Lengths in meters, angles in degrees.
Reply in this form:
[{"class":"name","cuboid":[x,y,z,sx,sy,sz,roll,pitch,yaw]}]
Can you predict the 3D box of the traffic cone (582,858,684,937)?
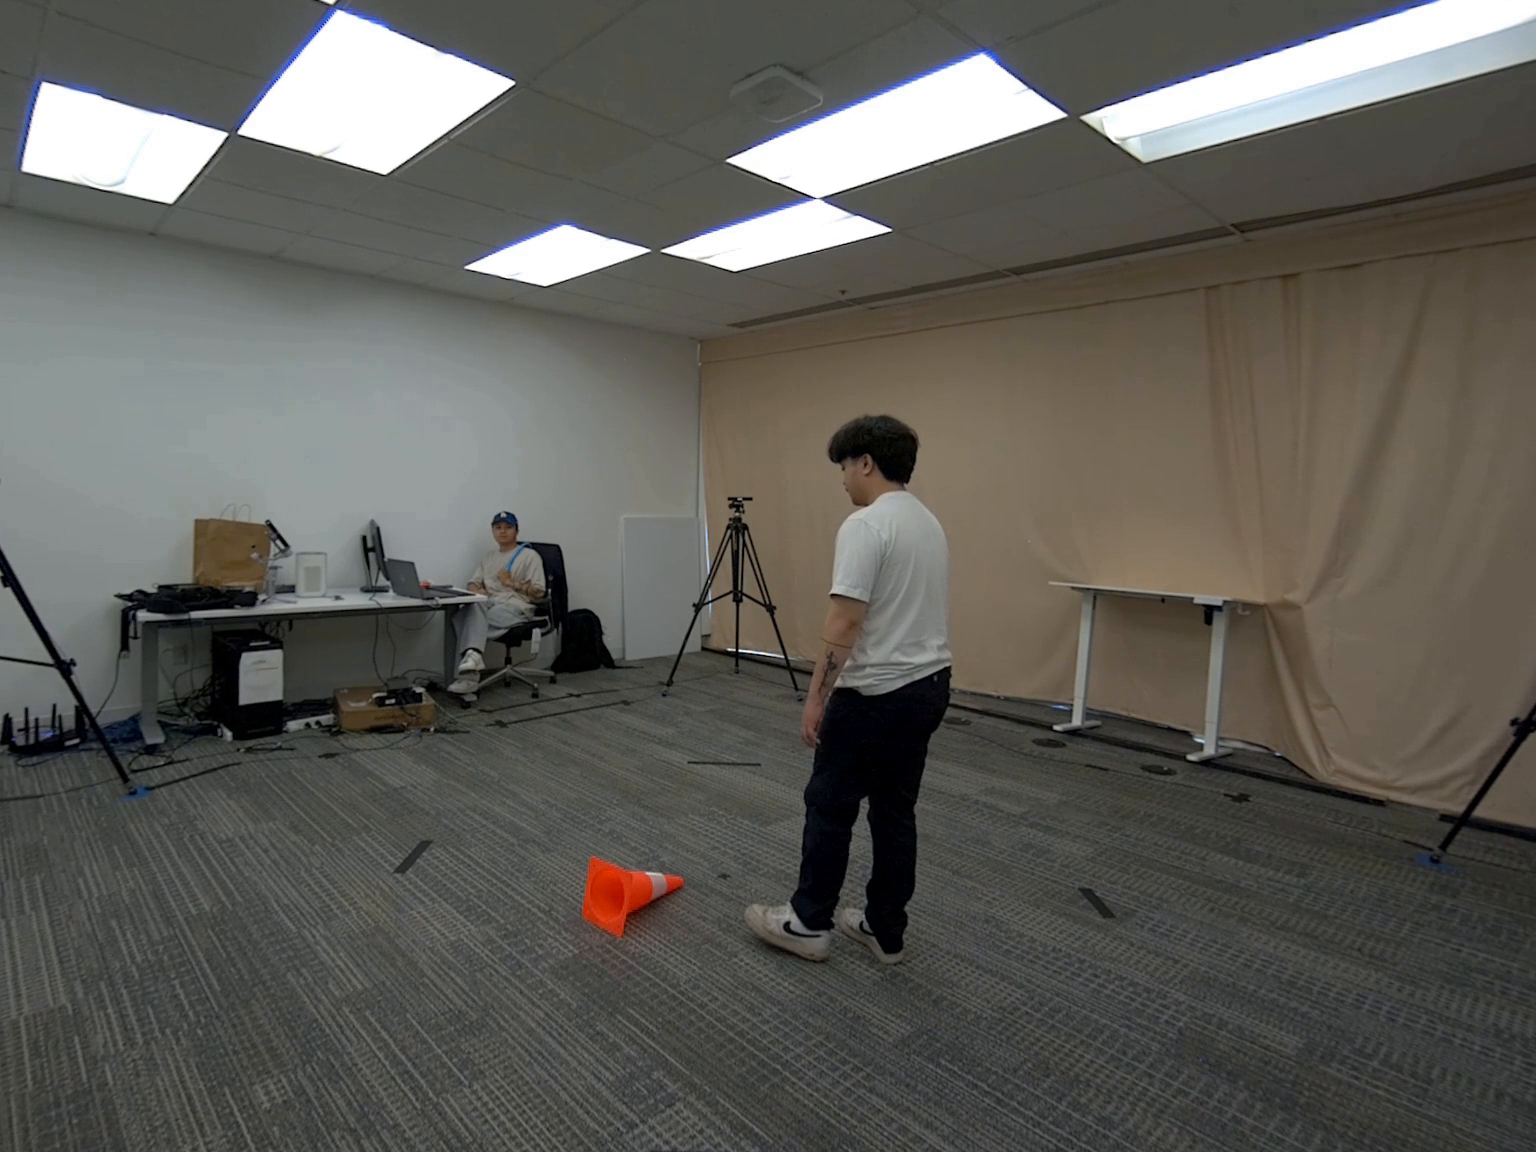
[{"class":"traffic cone","cuboid":[-0.429,1.070,2.872,0.210,0.204,0.373,6,-7,36]}]
